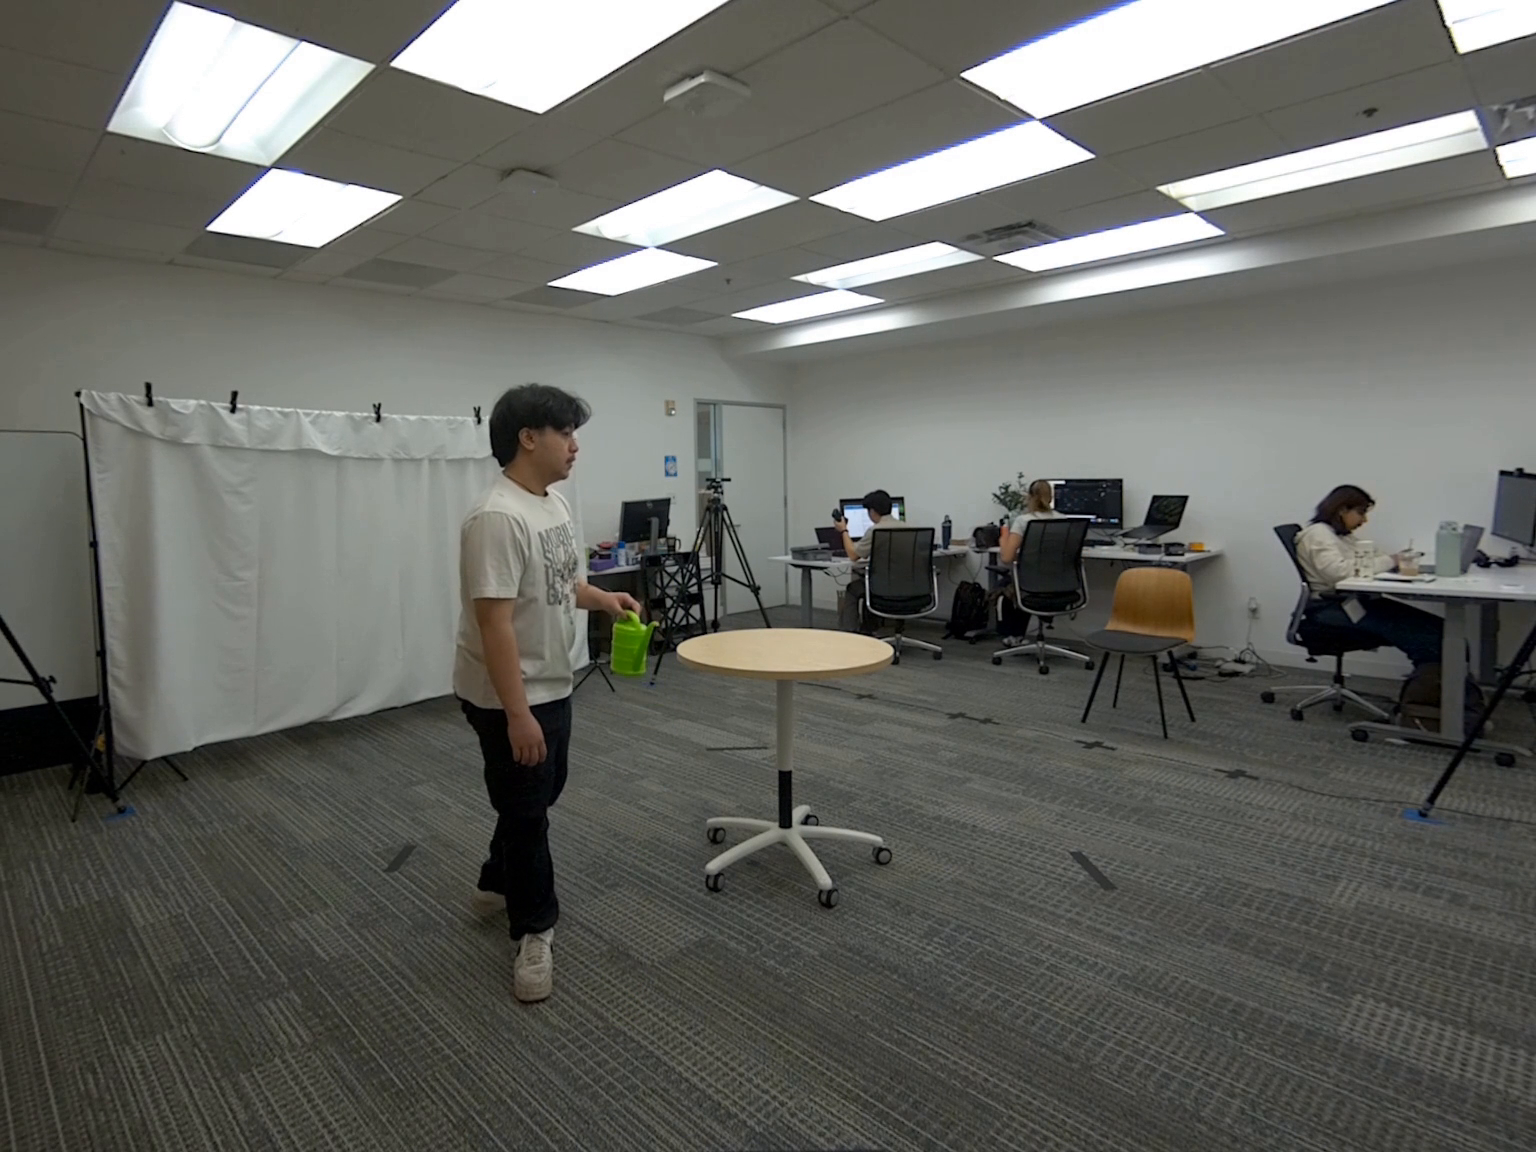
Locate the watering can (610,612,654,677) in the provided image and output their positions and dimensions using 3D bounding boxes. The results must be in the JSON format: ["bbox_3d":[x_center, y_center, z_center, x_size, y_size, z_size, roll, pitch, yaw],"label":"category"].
[{"bbox_3d":[-0.392,0.196,2.418,0.096,0.176,0.283,1,5,-16],"label":"watering can"}]
